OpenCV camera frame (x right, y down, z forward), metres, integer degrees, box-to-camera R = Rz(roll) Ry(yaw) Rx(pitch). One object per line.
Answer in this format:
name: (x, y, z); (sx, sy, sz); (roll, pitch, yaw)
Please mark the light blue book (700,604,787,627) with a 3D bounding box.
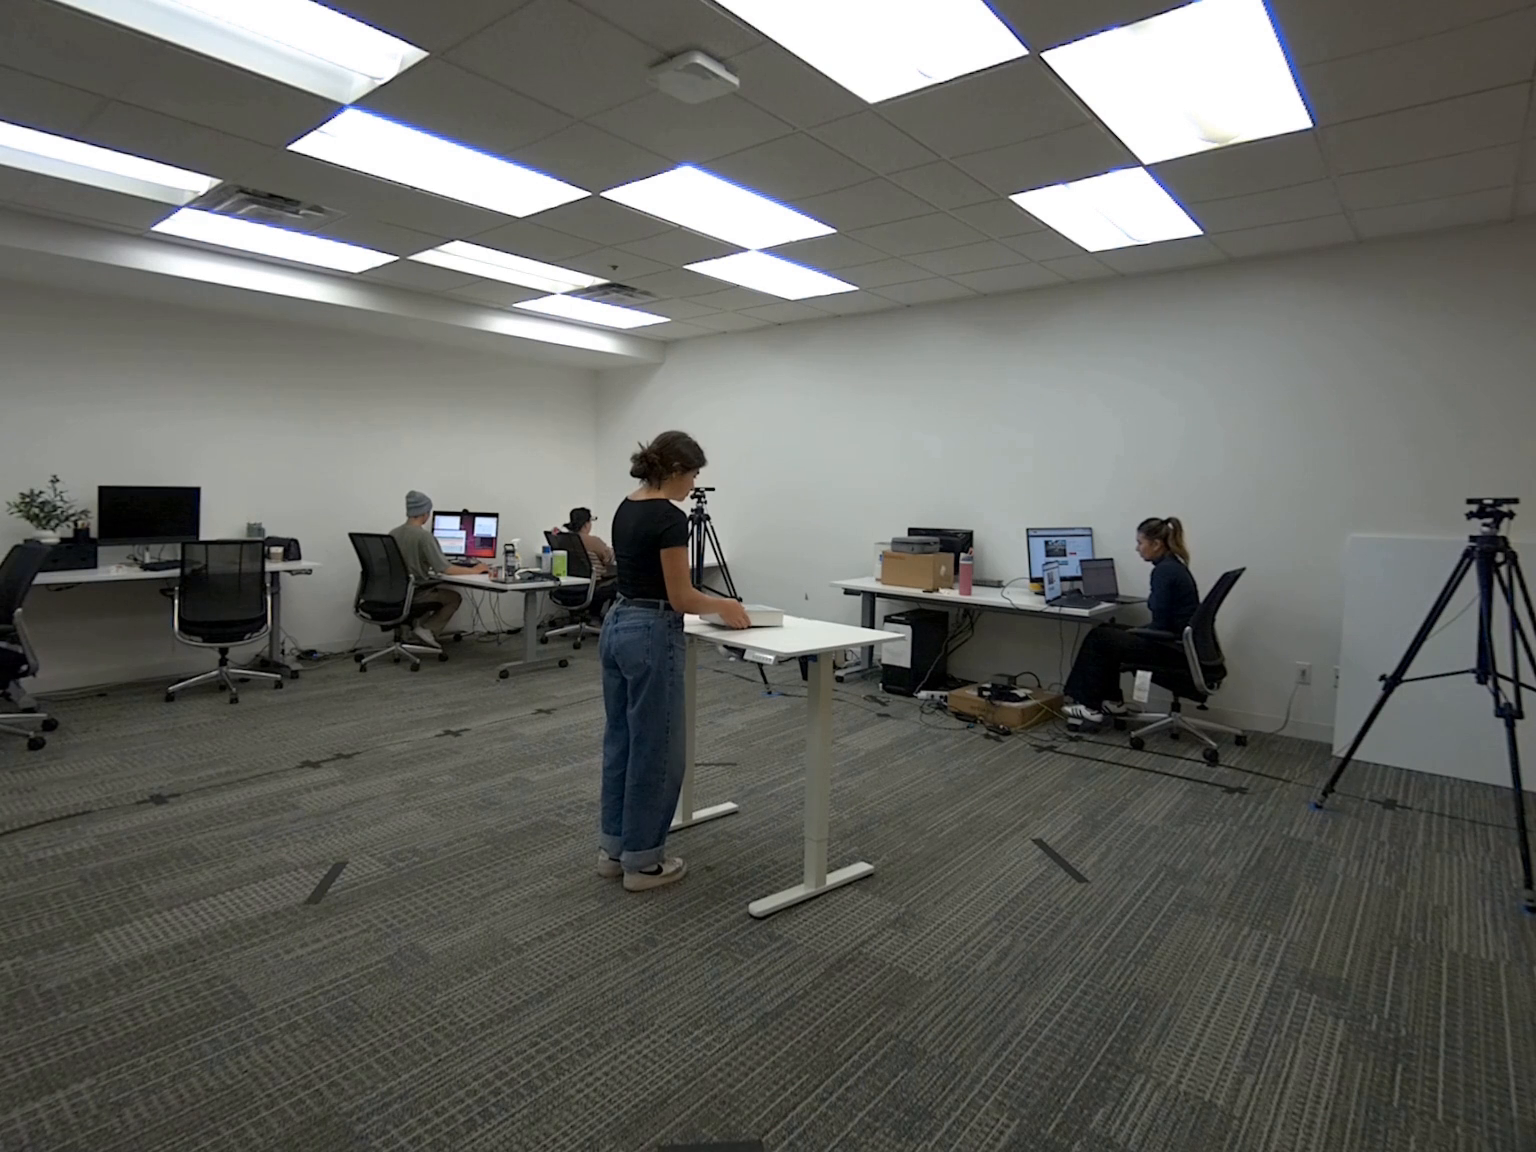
light blue book: (-0.096, 0.145, 3.157); (0.254, 0.059, 0.197); (1, 3, -31)
